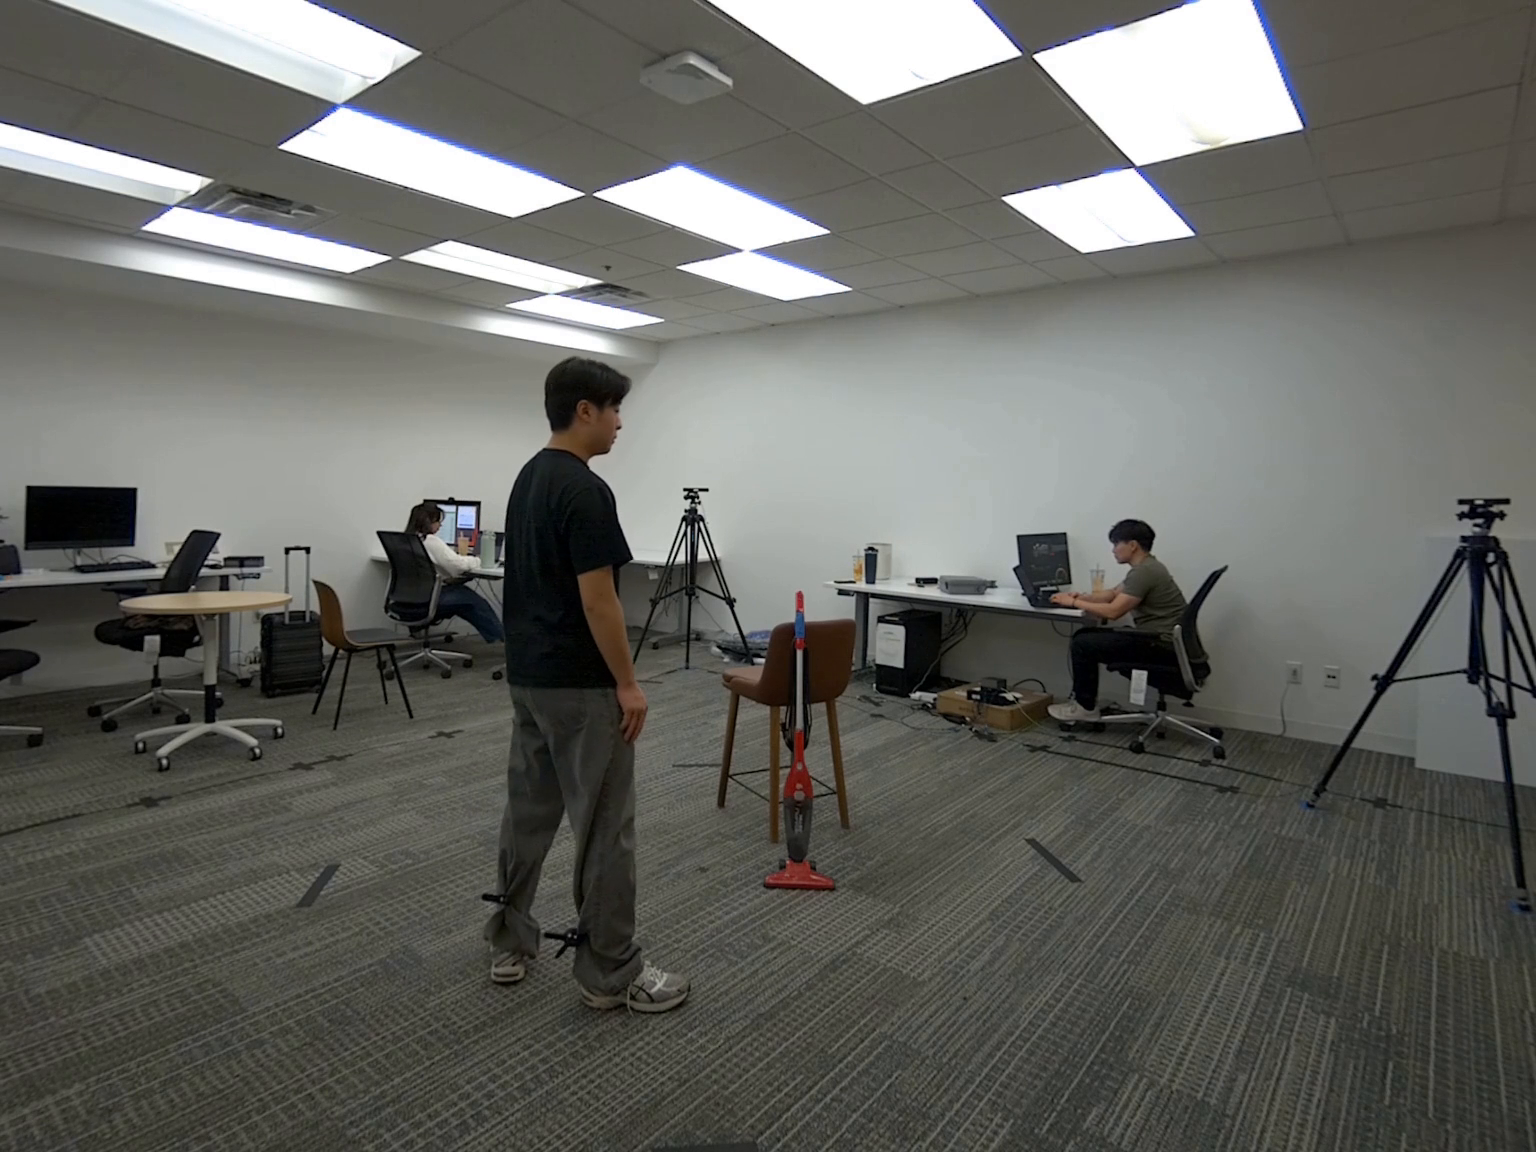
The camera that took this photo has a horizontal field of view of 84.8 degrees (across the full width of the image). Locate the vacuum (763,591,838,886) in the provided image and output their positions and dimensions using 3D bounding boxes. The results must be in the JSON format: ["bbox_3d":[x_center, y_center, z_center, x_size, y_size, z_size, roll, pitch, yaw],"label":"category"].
[{"bbox_3d":[0.112,0.572,3.200,0.252,1.066,0.142,2,-17,-3],"label":"vacuum"}]
